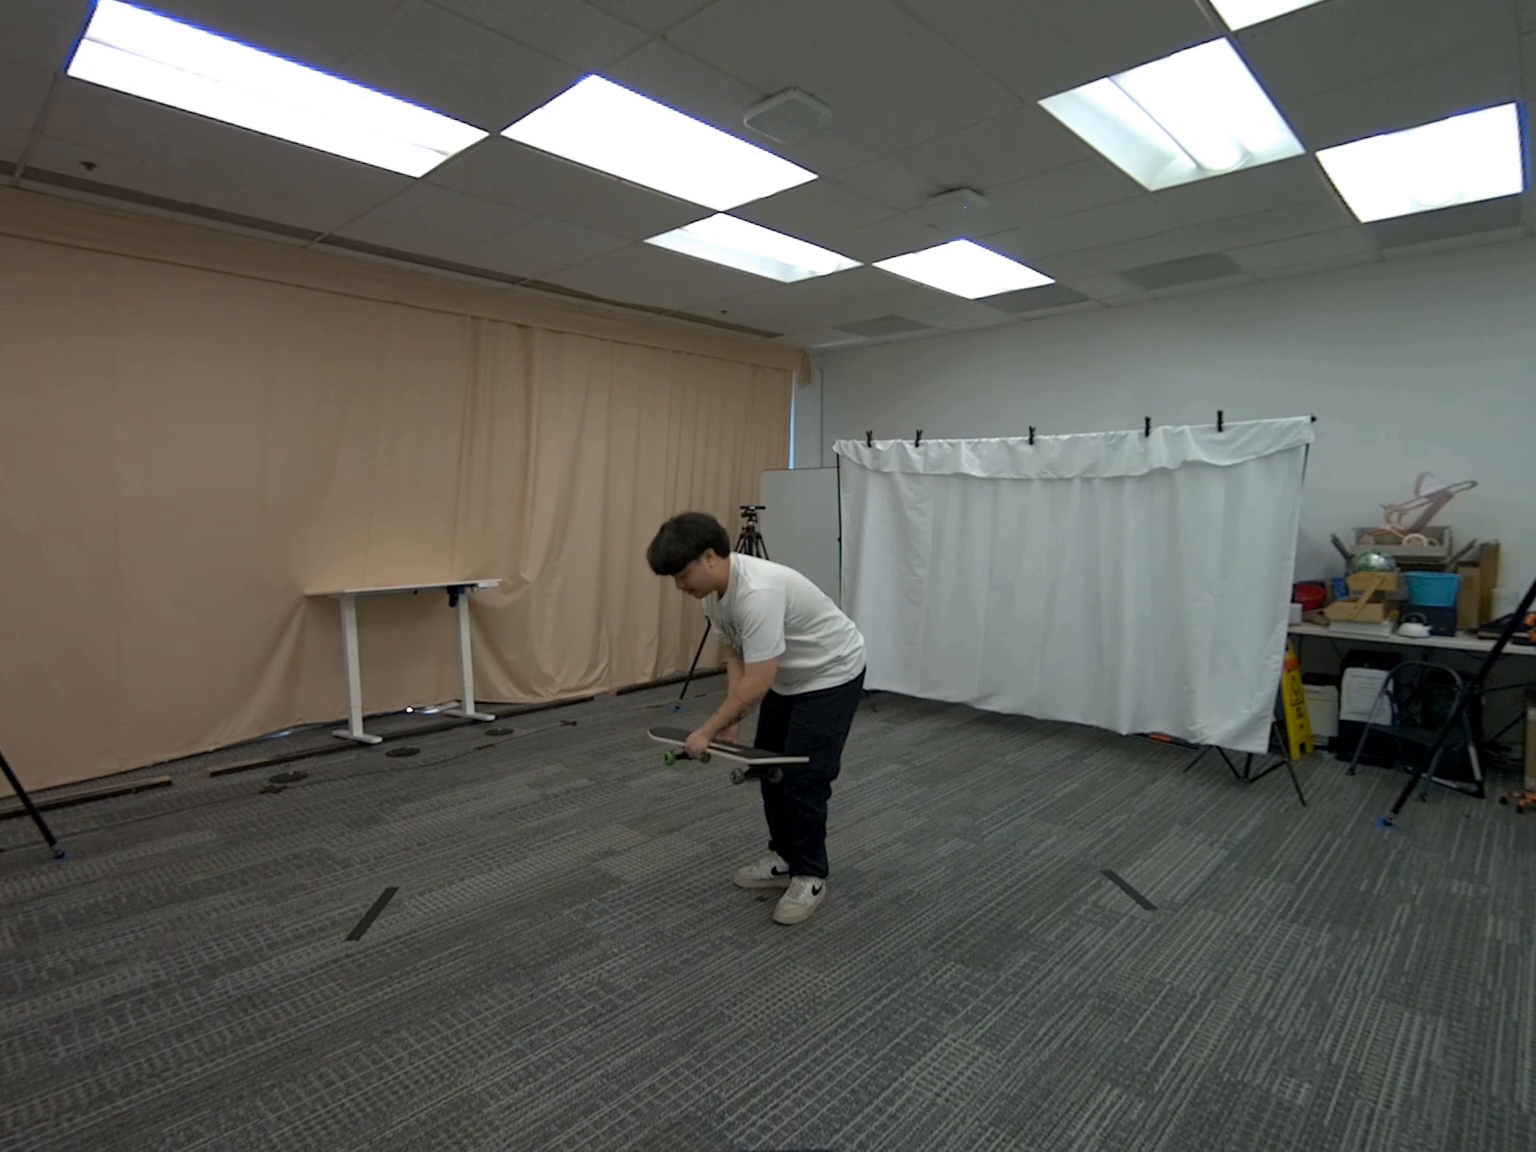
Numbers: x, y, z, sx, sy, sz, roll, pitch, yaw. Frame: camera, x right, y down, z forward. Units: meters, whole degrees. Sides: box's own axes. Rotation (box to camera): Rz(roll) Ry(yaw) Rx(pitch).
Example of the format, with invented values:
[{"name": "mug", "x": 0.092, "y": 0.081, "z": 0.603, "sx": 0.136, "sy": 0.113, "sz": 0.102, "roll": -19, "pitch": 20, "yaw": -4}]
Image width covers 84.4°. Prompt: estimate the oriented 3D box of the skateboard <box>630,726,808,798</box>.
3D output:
[{"name": "skateboard", "x": -0.174, "y": 0.607, "z": 2.829, "sx": 0.187, "sy": 0.111, "sz": 0.809, "roll": 9, "pitch": -7, "yaw": -38}]
